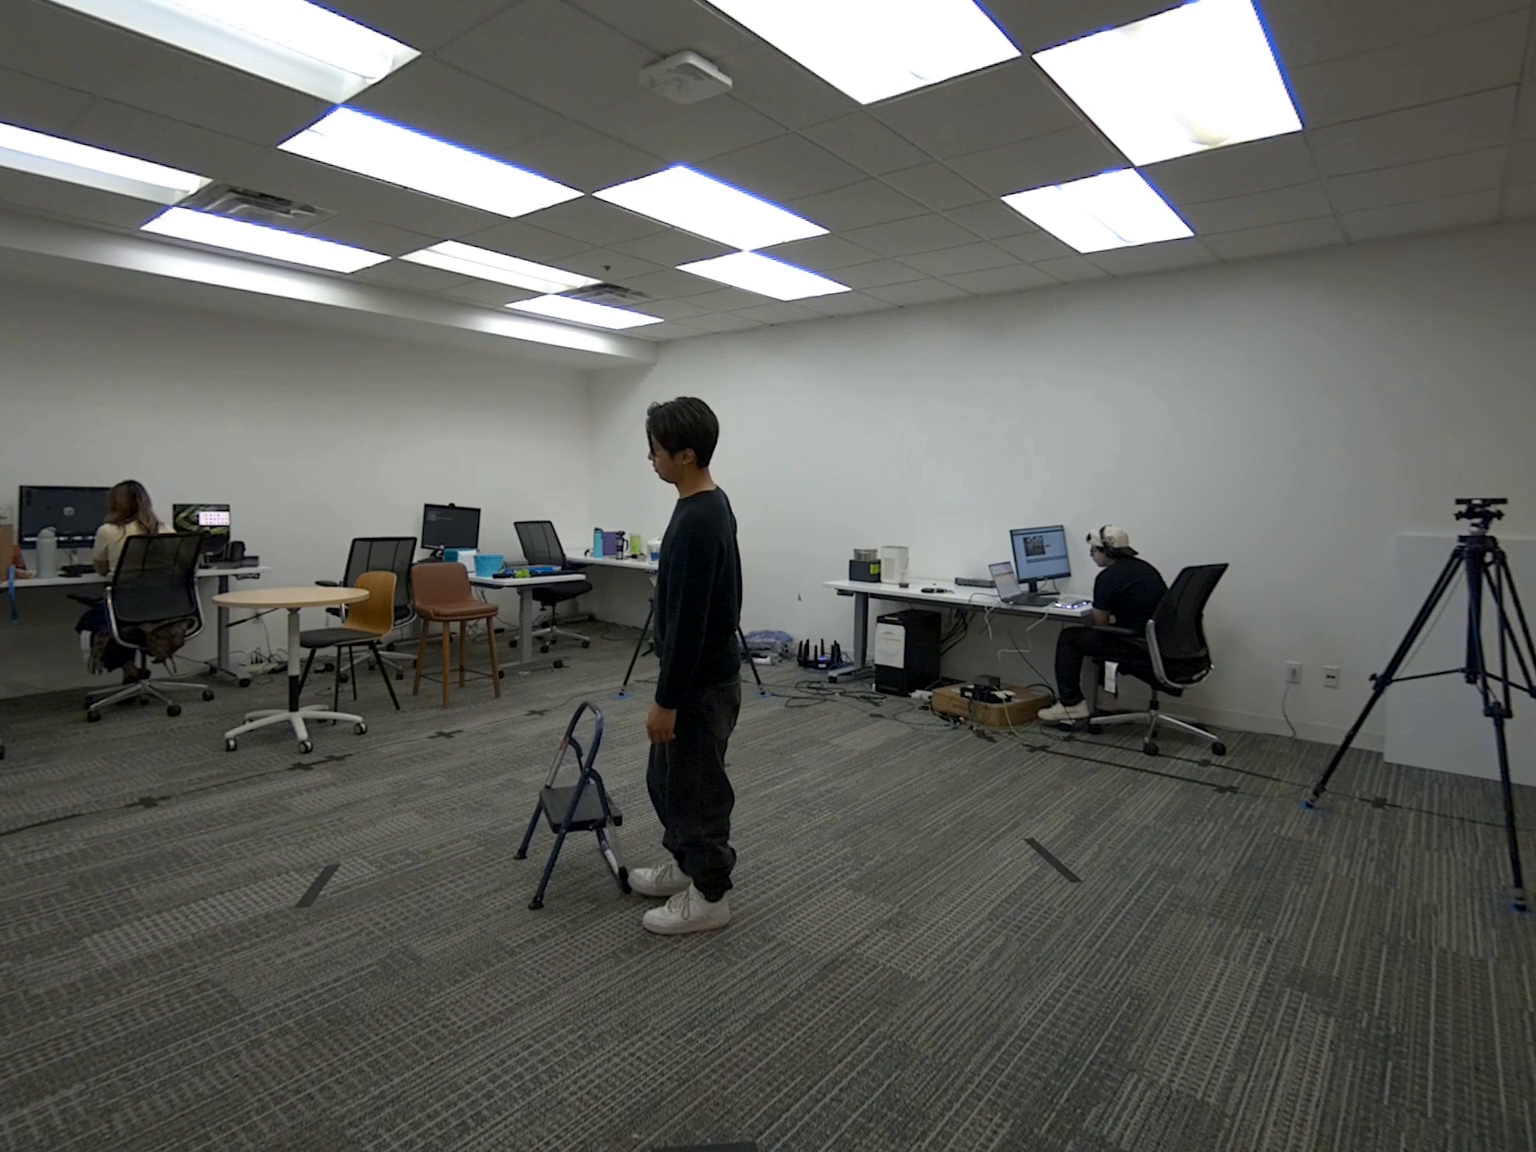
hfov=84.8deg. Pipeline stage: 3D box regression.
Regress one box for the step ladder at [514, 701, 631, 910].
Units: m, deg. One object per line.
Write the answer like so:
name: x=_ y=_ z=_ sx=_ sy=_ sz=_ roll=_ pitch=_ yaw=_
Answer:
step ladder: x=-0.712 y=0.765 z=3.033 sx=0.342 sy=0.604 sz=0.441 roll=-1 pitch=4 yaw=-23
